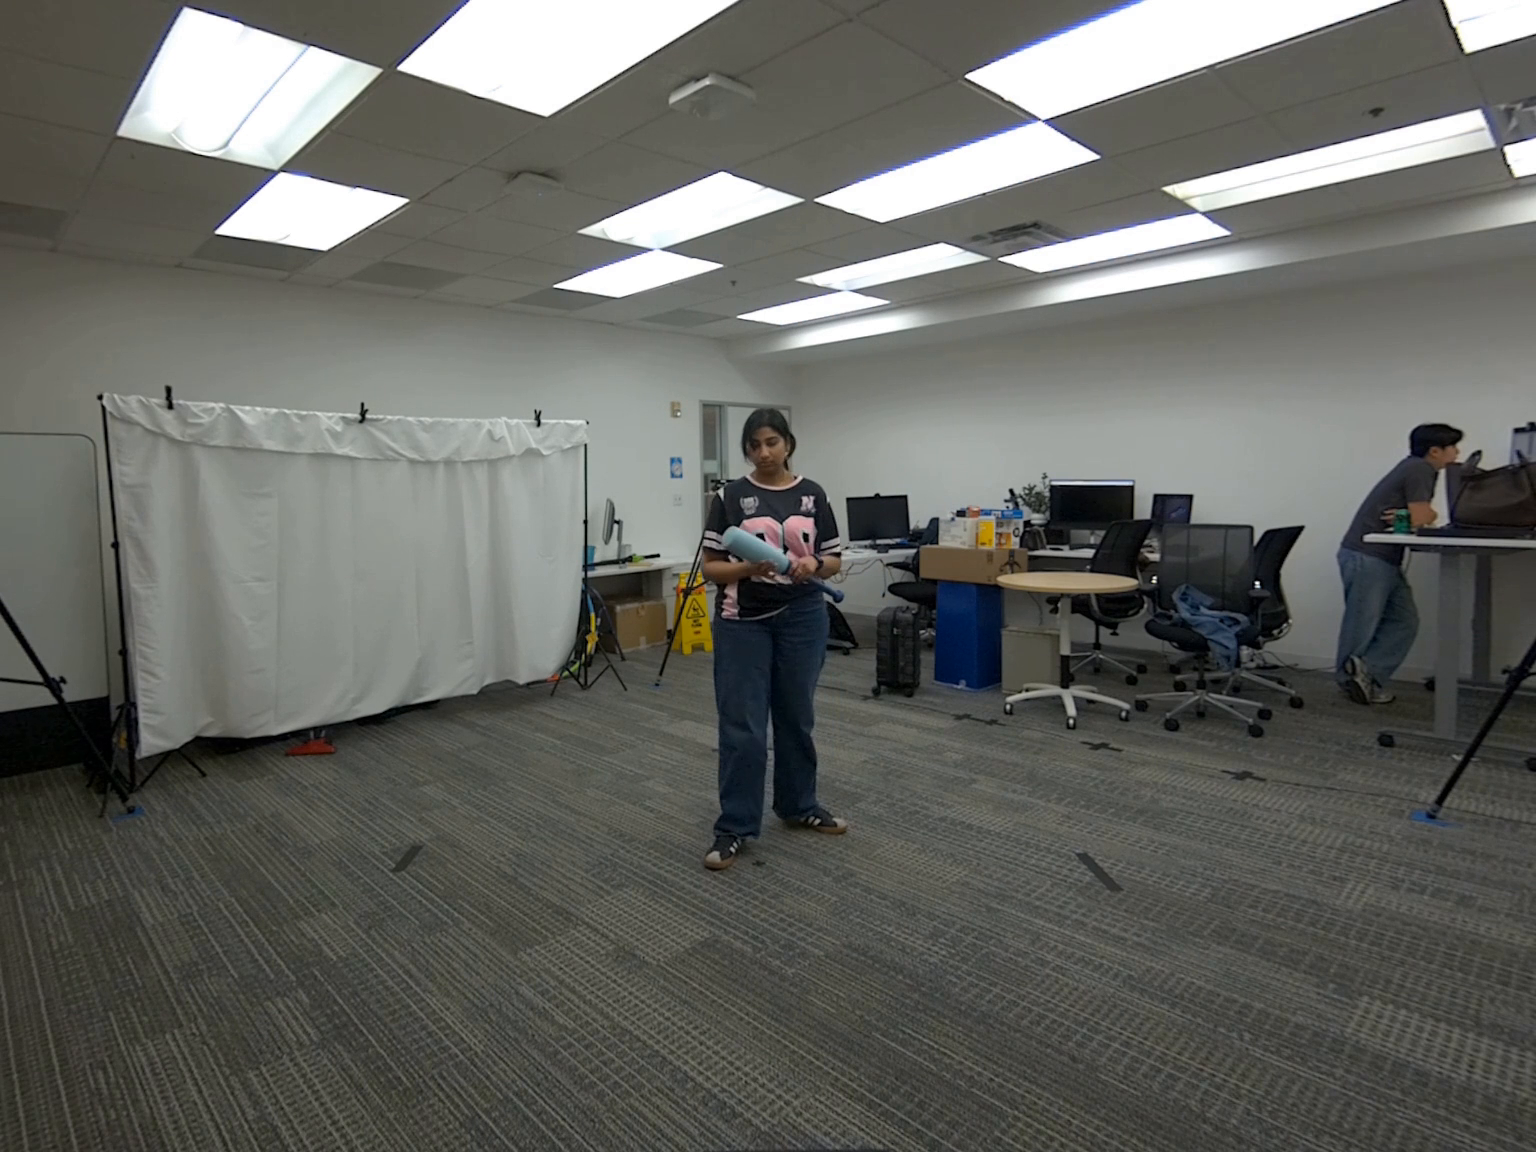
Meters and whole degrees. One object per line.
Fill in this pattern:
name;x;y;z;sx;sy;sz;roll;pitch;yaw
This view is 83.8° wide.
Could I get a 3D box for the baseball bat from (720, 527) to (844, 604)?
baseball bat;0.058;-0.032;3.034;0.528;0.089;0.091;27;-8;-24
